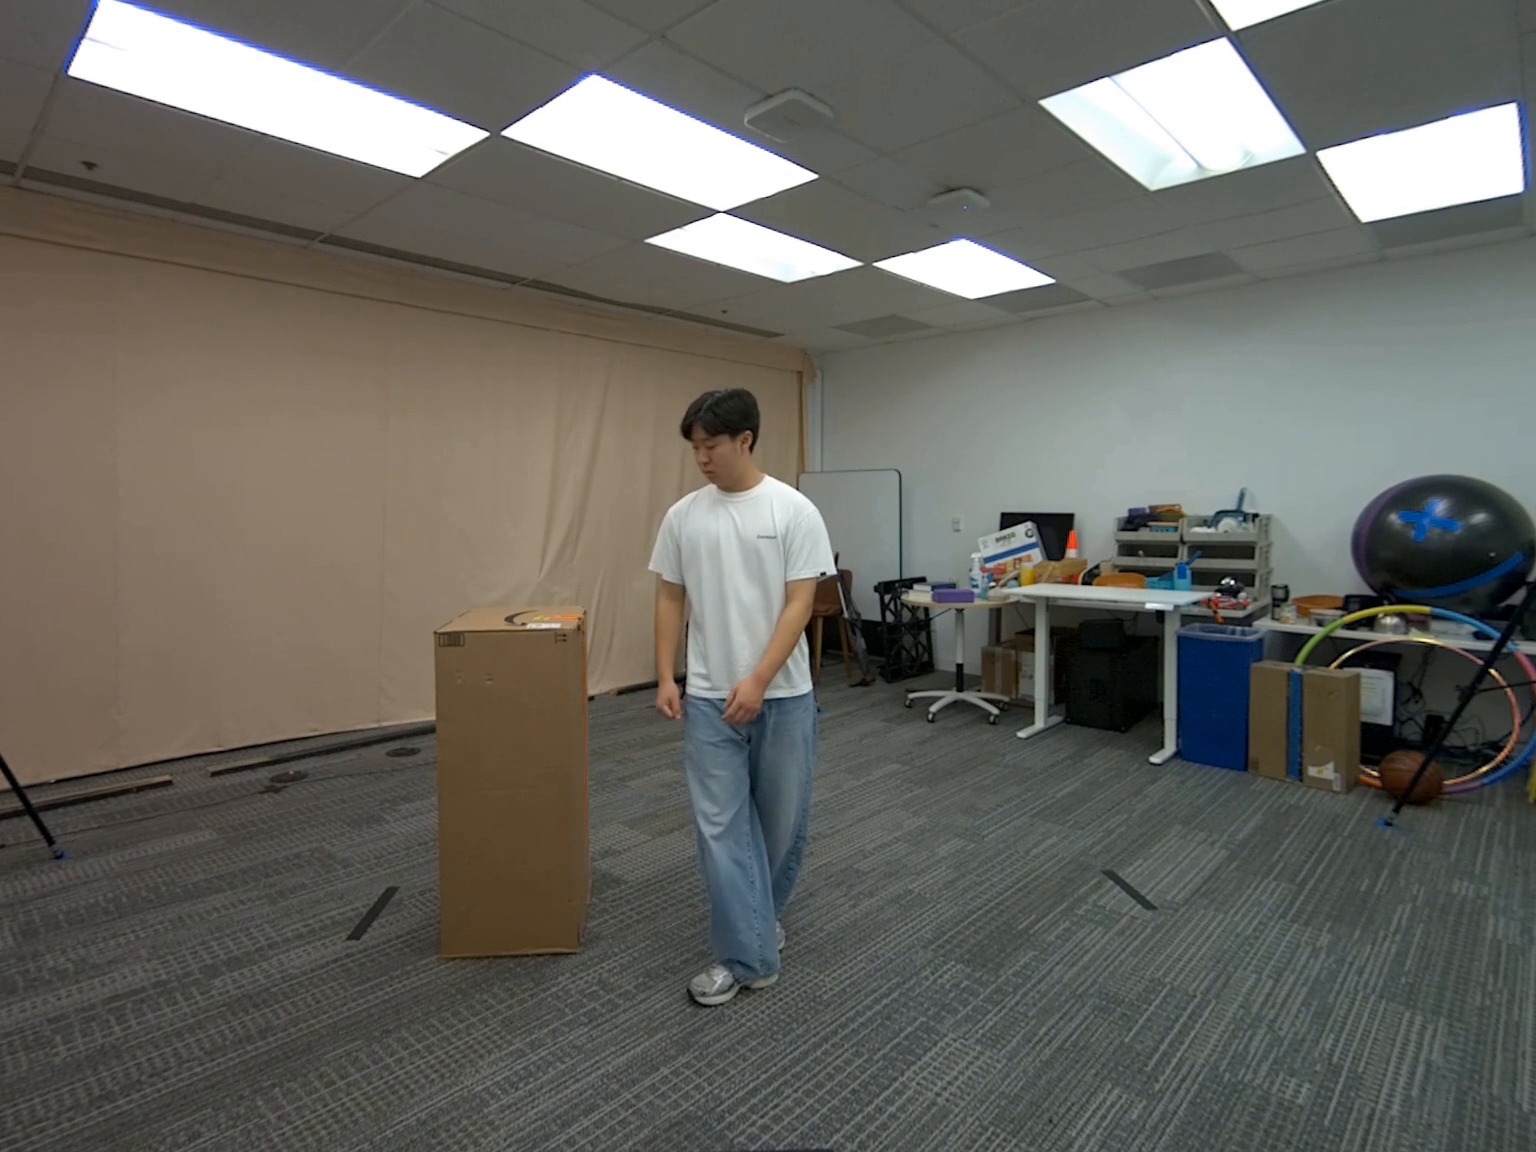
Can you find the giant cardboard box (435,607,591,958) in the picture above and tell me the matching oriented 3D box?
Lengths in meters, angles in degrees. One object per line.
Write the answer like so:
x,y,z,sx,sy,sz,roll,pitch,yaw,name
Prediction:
-0.846,0.652,2.868,0.423,1.024,0.583,-1,3,-8,giant cardboard box
